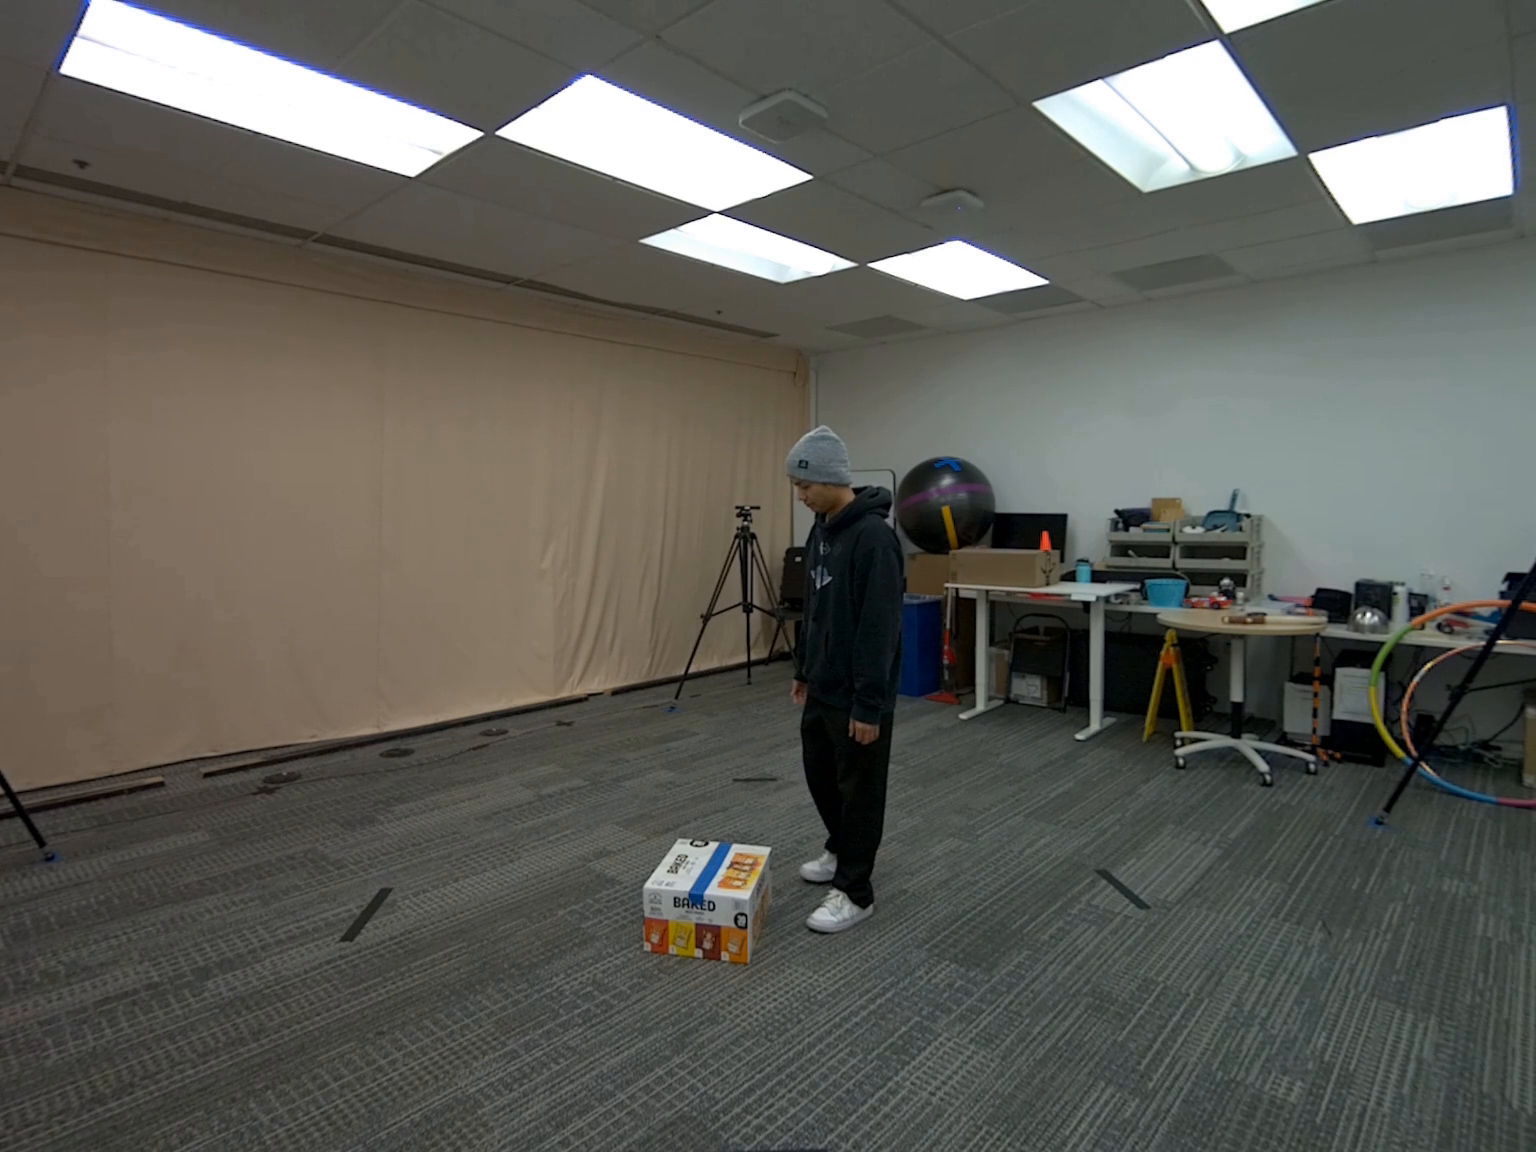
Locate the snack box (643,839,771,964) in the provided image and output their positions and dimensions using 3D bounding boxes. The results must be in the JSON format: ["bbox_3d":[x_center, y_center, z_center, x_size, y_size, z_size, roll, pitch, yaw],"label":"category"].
[{"bbox_3d":[-0.187,1.062,2.783,0.345,0.205,0.400,1,4,12],"label":"snack box"}]
